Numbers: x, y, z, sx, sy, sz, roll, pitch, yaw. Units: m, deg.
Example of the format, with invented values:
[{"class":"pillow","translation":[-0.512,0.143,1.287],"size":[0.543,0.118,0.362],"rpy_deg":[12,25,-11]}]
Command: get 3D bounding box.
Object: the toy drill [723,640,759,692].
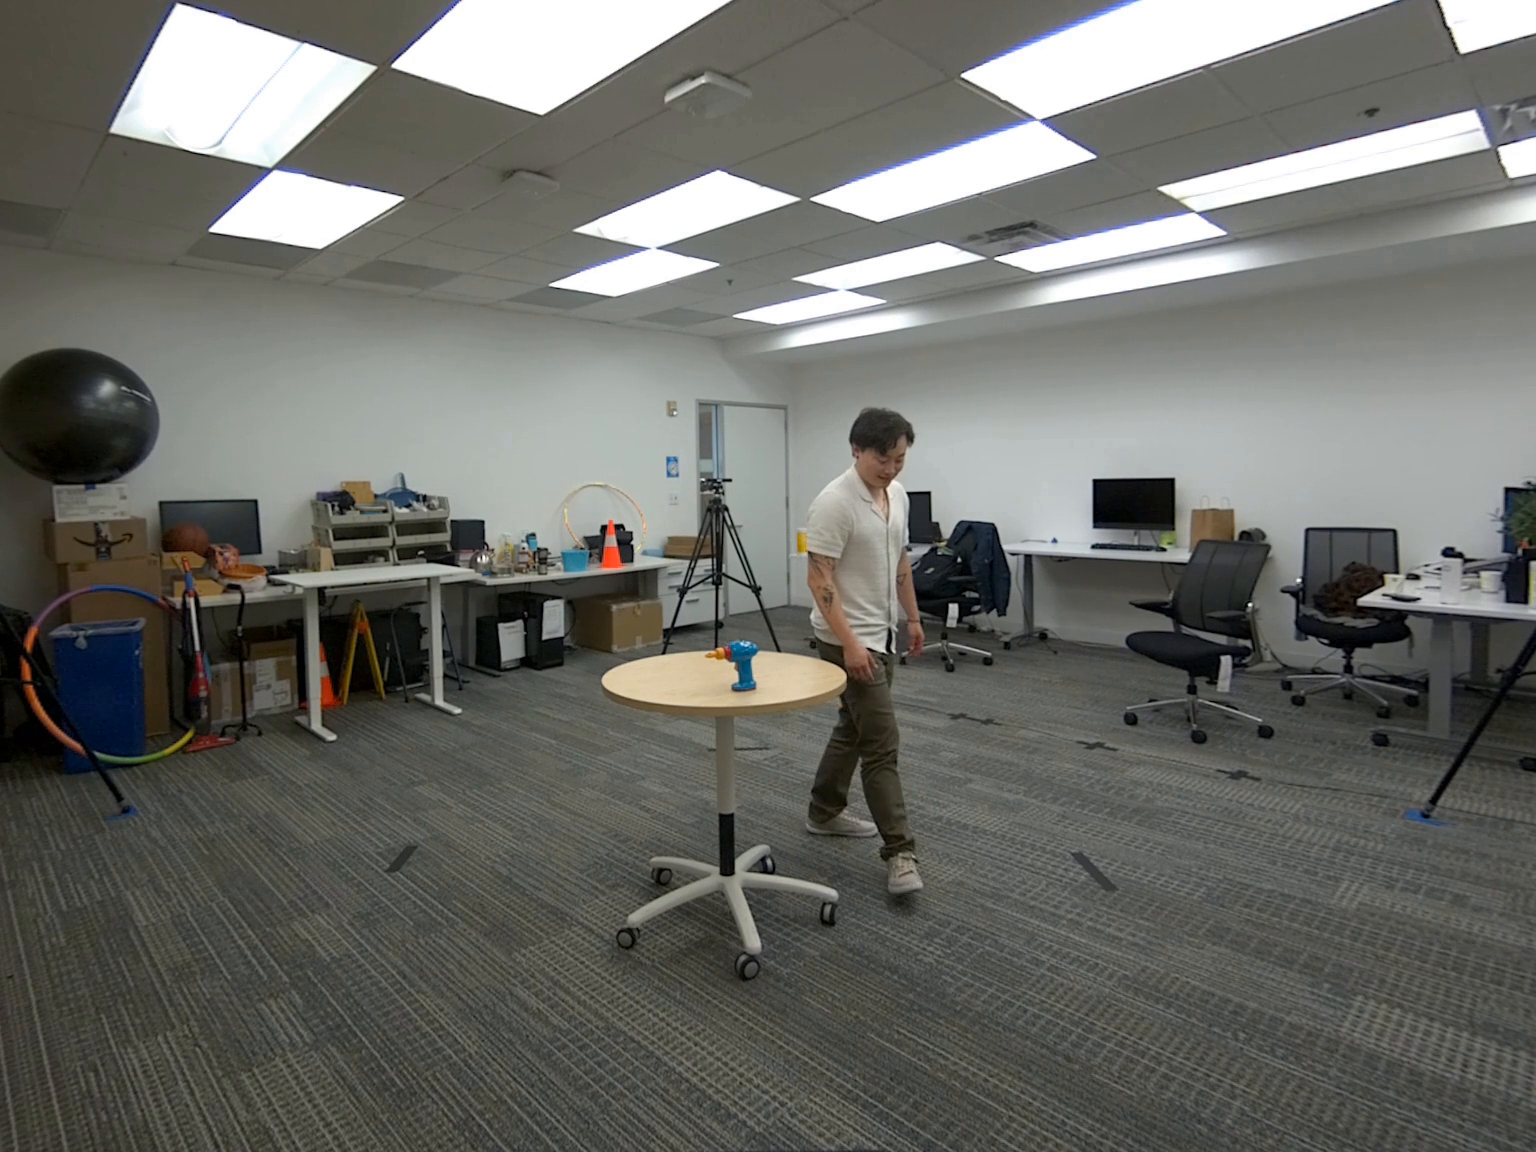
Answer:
[{"class":"toy drill","translation":[-0.094,0.260,2.473],"size":[0.166,0.146,0.063],"rpy_deg":[-3,3,-29]}]
